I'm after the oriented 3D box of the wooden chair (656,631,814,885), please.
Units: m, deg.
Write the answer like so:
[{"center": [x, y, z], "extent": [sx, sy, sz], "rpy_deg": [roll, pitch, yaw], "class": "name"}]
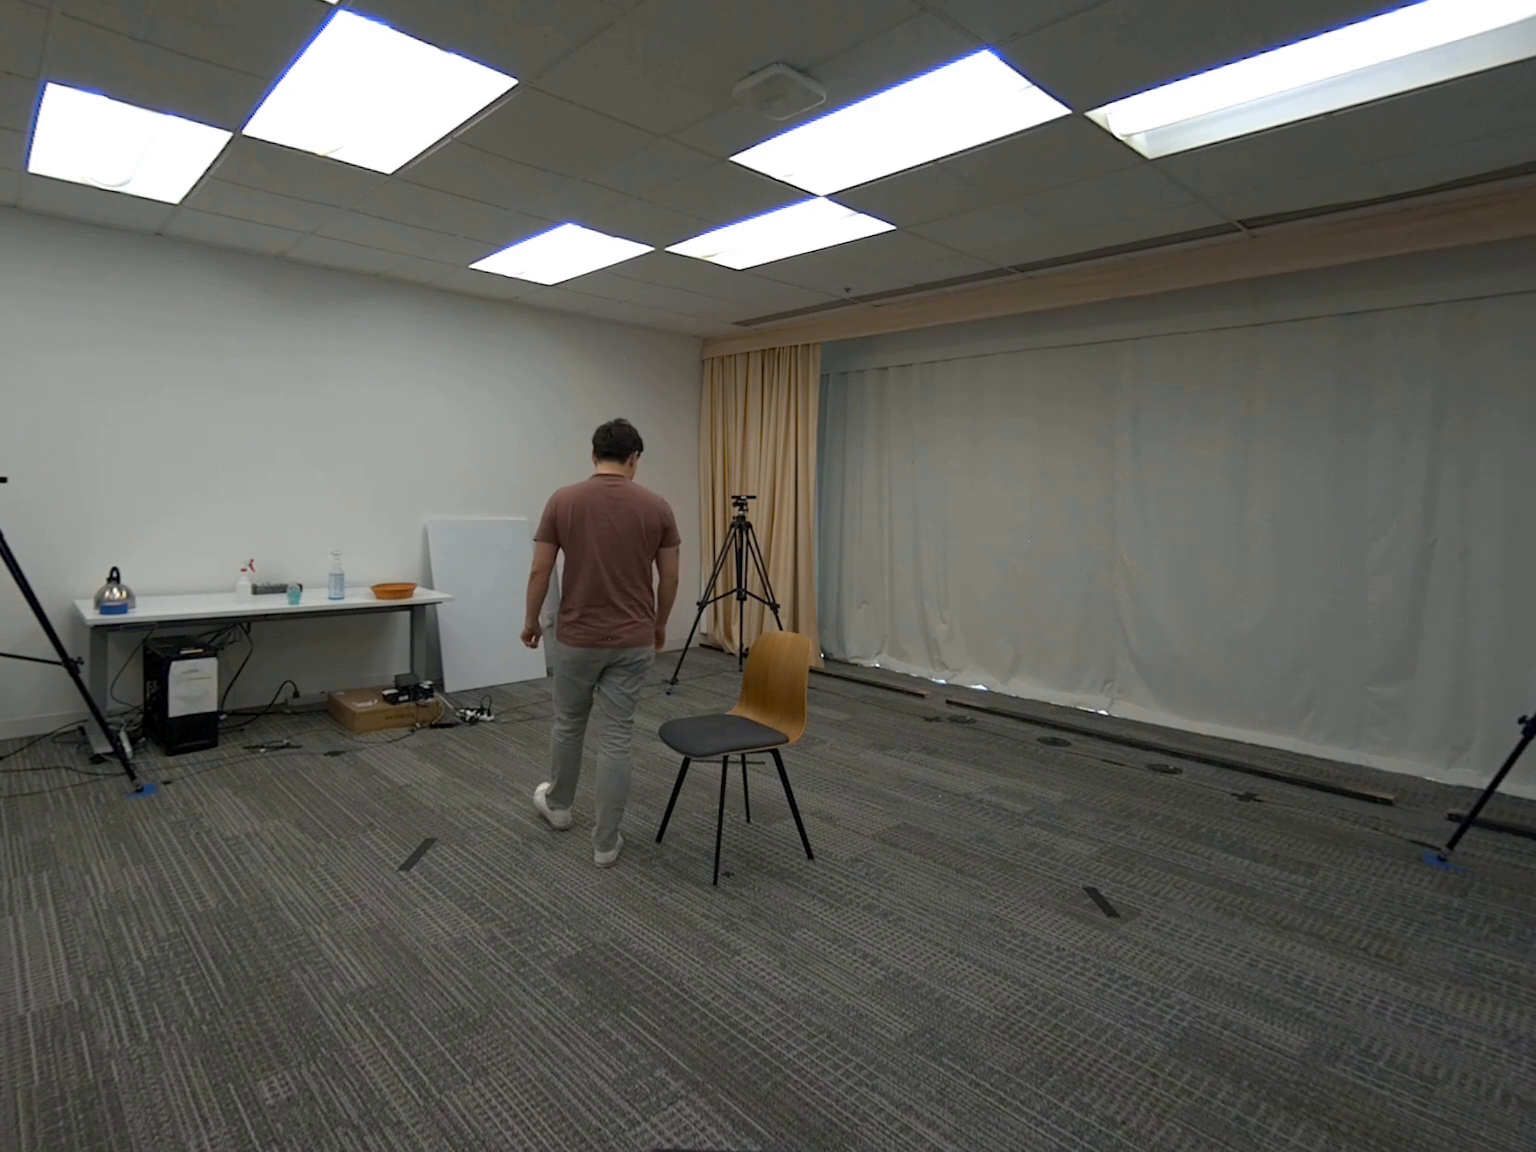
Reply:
[{"center": [-0.140, 0.657, 3.280], "extent": [0.511, 0.877, 0.489], "rpy_deg": [4, 1, -35], "class": "wooden chair"}]
